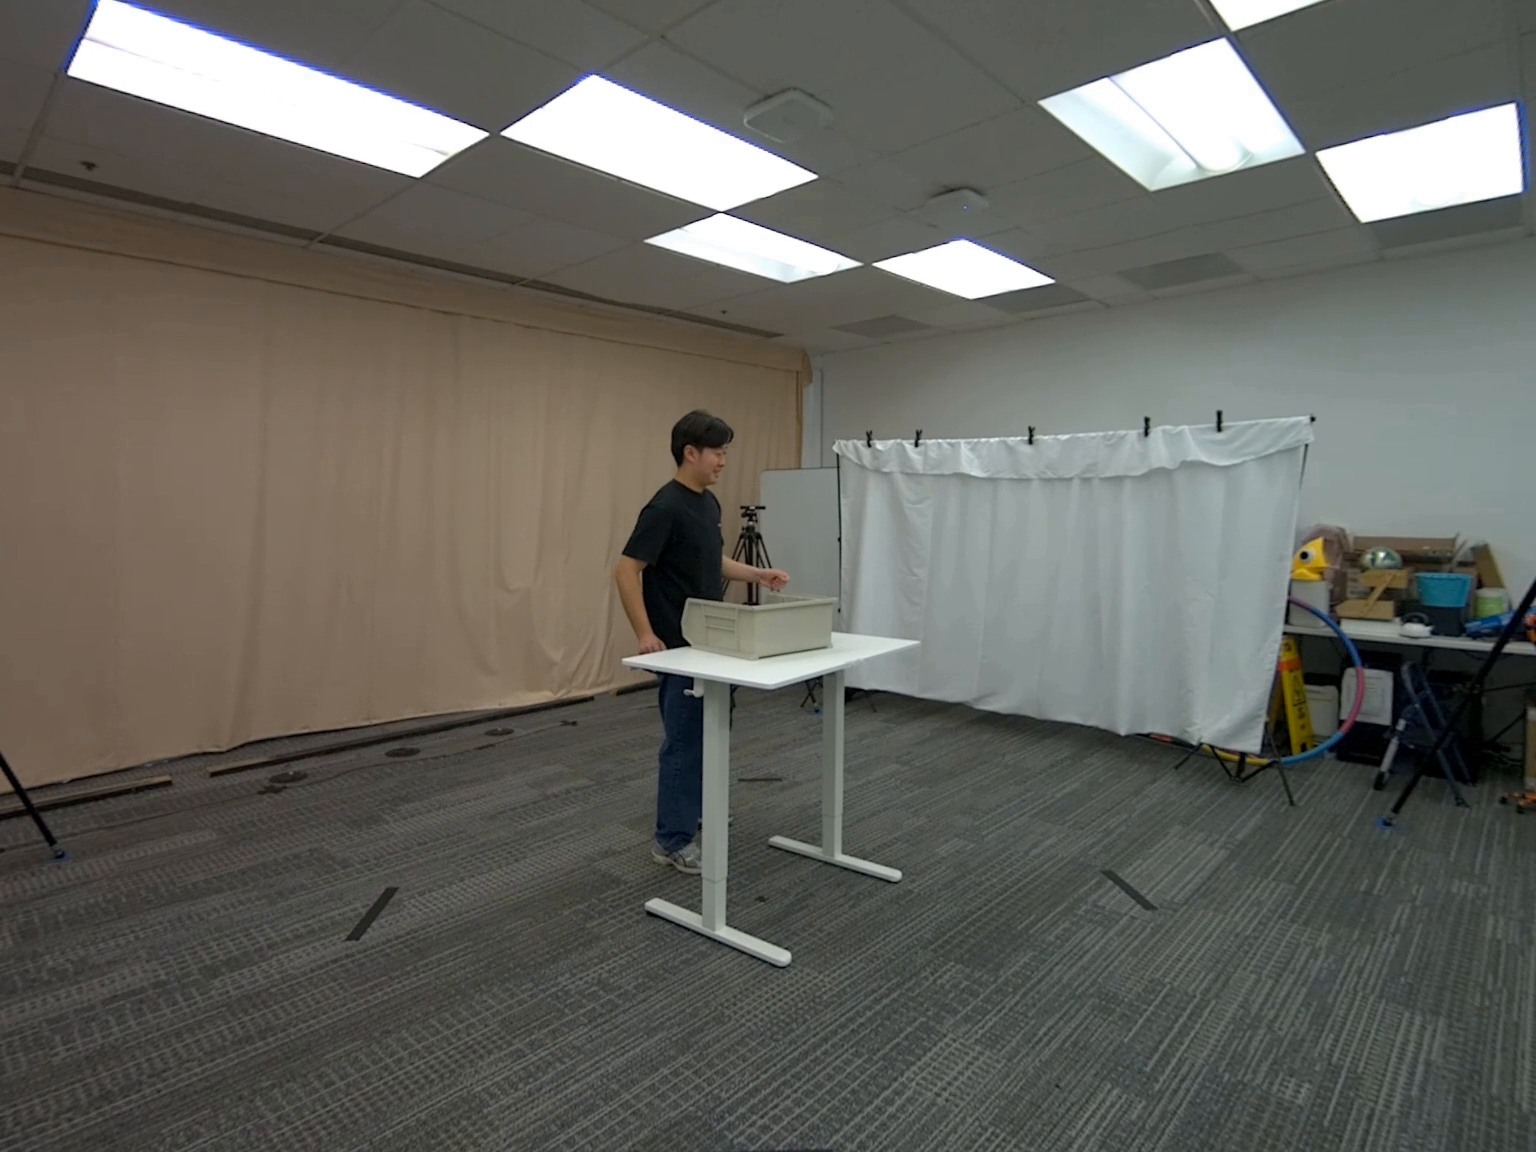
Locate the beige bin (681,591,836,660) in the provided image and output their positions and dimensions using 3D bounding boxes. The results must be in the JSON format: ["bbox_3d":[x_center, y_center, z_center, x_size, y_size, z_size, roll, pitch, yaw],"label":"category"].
[{"bbox_3d":[-0.033,0.168,3.017,0.409,0.188,0.390,-3,7,-43],"label":"beige bin"}]
